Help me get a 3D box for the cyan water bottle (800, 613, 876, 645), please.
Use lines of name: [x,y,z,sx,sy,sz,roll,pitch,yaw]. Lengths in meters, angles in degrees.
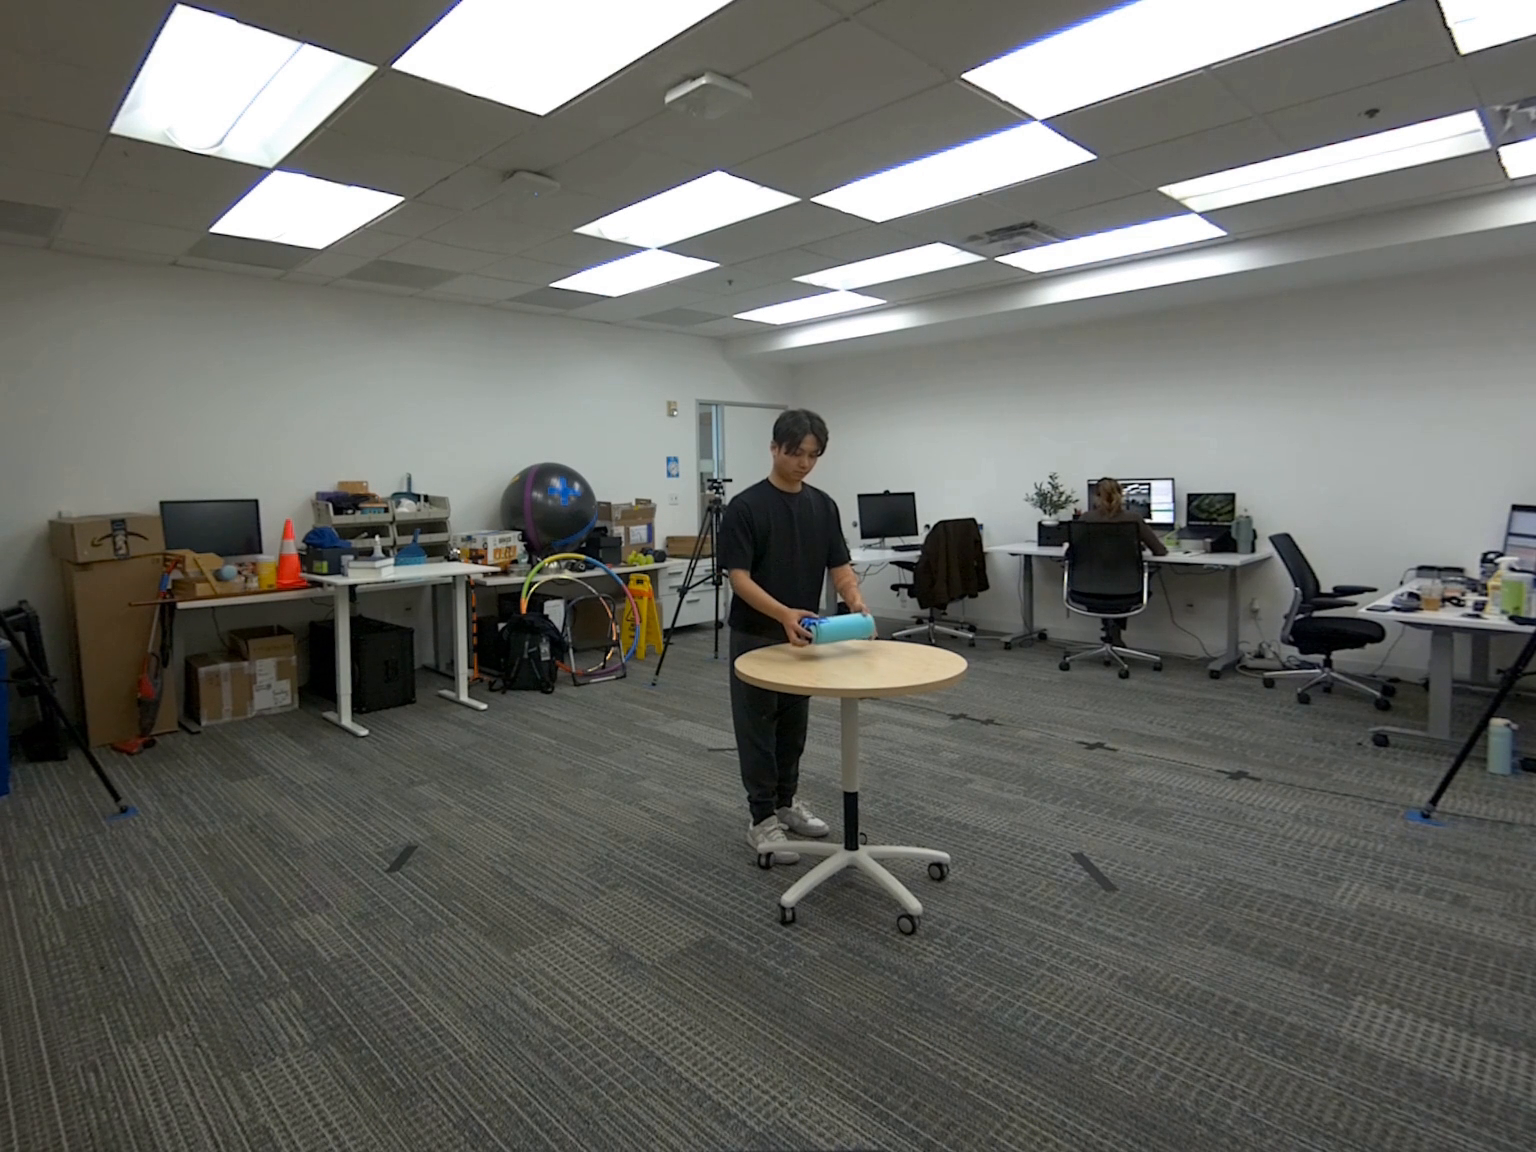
cyan water bottle: [0.211,0.190,2.944,0.277,0.092,0.095,-4,6,-27]
